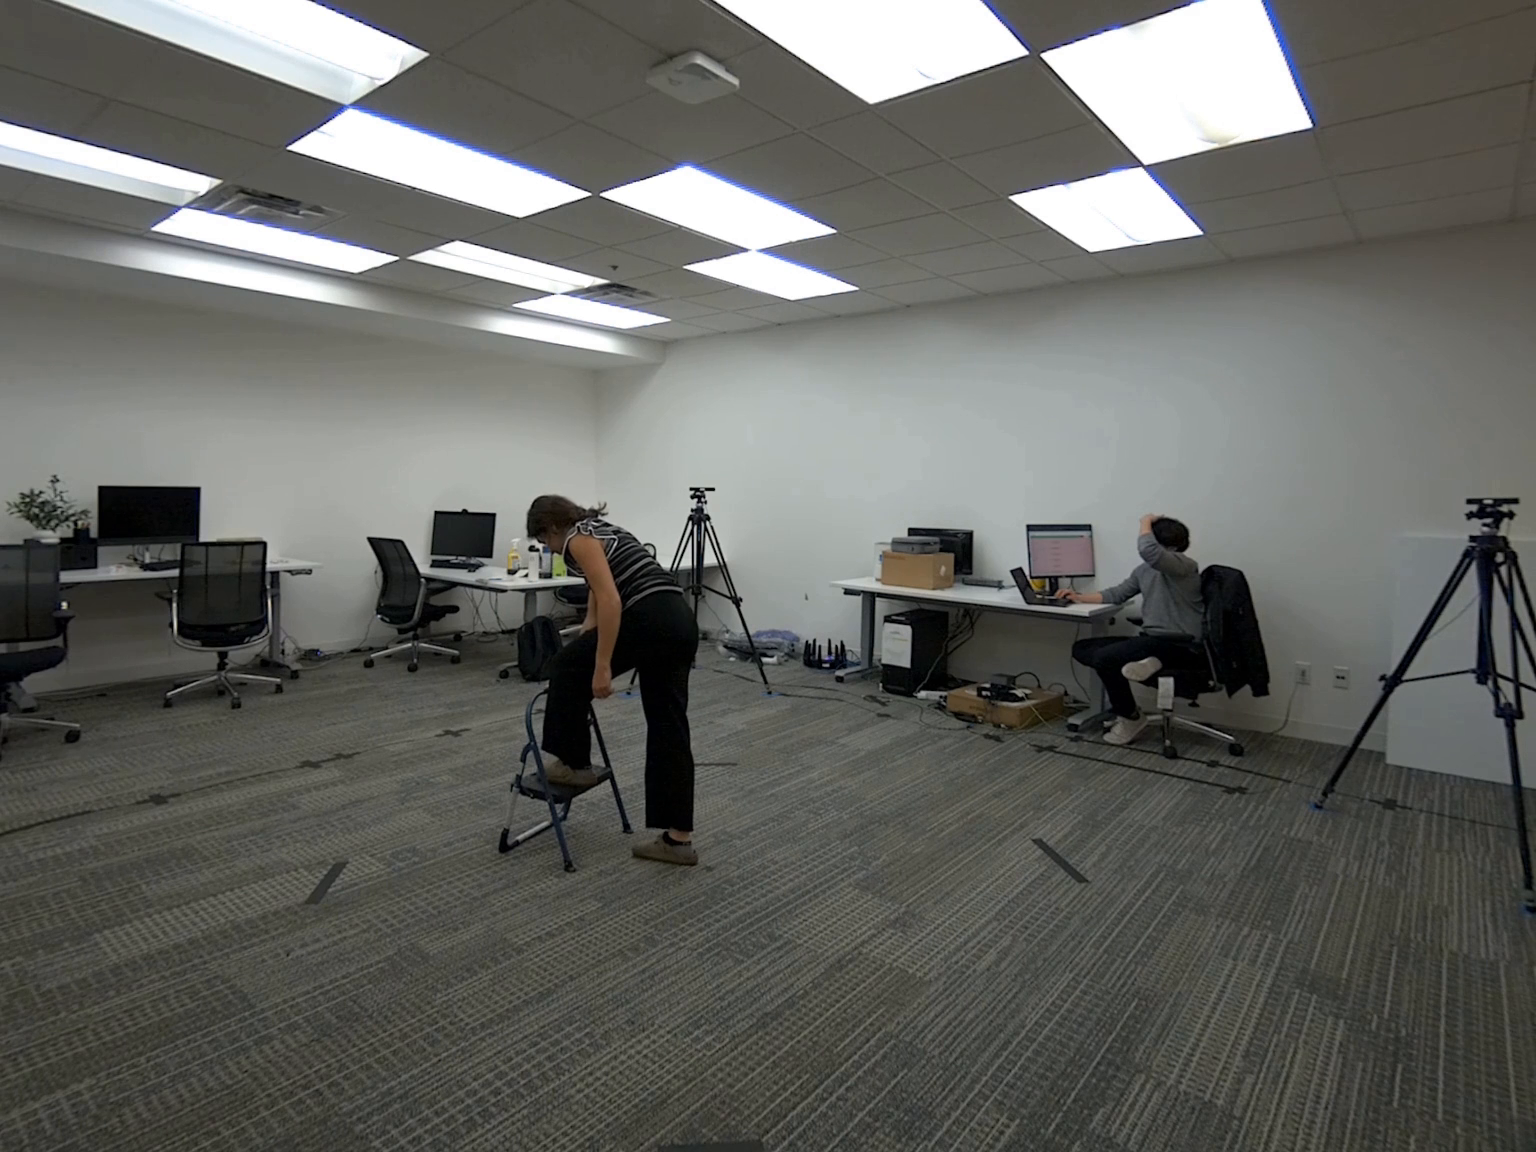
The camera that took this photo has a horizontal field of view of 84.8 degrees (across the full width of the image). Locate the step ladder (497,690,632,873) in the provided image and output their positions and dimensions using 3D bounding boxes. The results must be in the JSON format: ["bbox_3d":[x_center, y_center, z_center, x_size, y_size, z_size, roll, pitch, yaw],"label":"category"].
[{"bbox_3d":[-0.788,0.737,3.312,0.358,0.605,0.421,3,3,24],"label":"step ladder"}]
